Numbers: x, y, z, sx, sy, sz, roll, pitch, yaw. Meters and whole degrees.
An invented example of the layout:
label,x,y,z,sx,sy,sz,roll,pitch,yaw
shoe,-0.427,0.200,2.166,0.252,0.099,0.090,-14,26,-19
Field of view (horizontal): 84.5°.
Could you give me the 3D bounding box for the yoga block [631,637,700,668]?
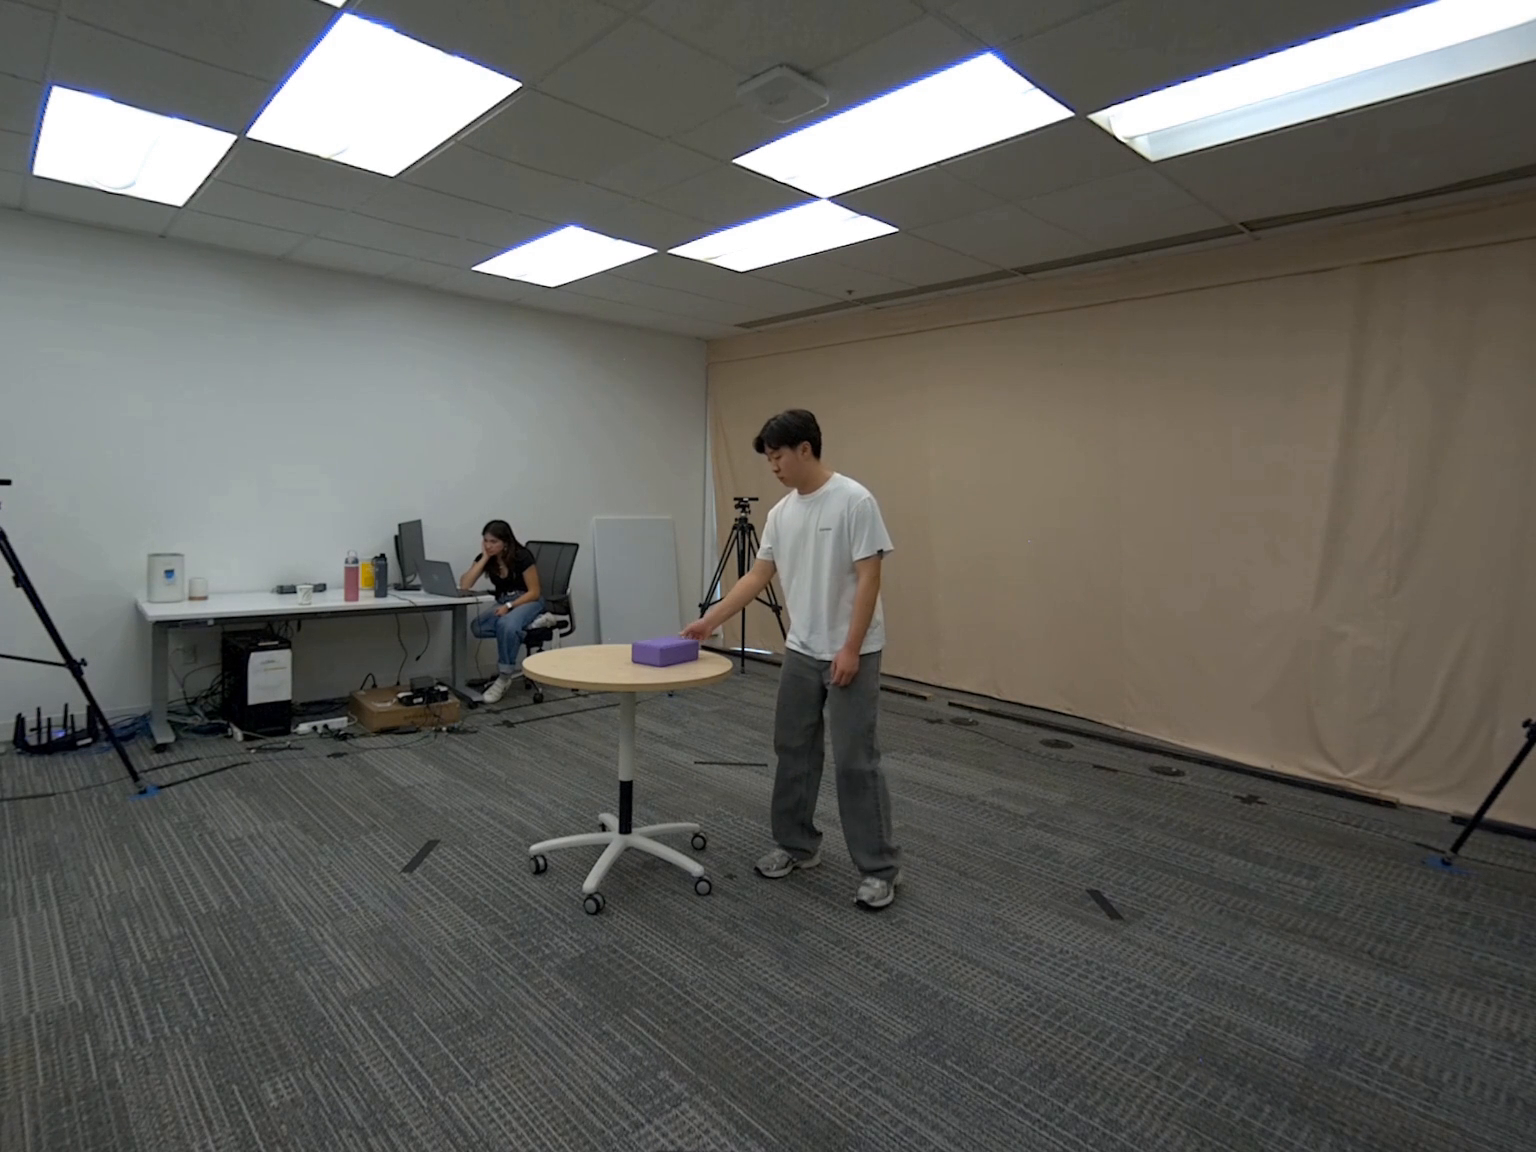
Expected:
label,x,y,z,sx,sy,sz,roll,pitch,yaw
yoga block,-0.385,0.277,3.138,0.152,0.076,0.224,5,5,33
